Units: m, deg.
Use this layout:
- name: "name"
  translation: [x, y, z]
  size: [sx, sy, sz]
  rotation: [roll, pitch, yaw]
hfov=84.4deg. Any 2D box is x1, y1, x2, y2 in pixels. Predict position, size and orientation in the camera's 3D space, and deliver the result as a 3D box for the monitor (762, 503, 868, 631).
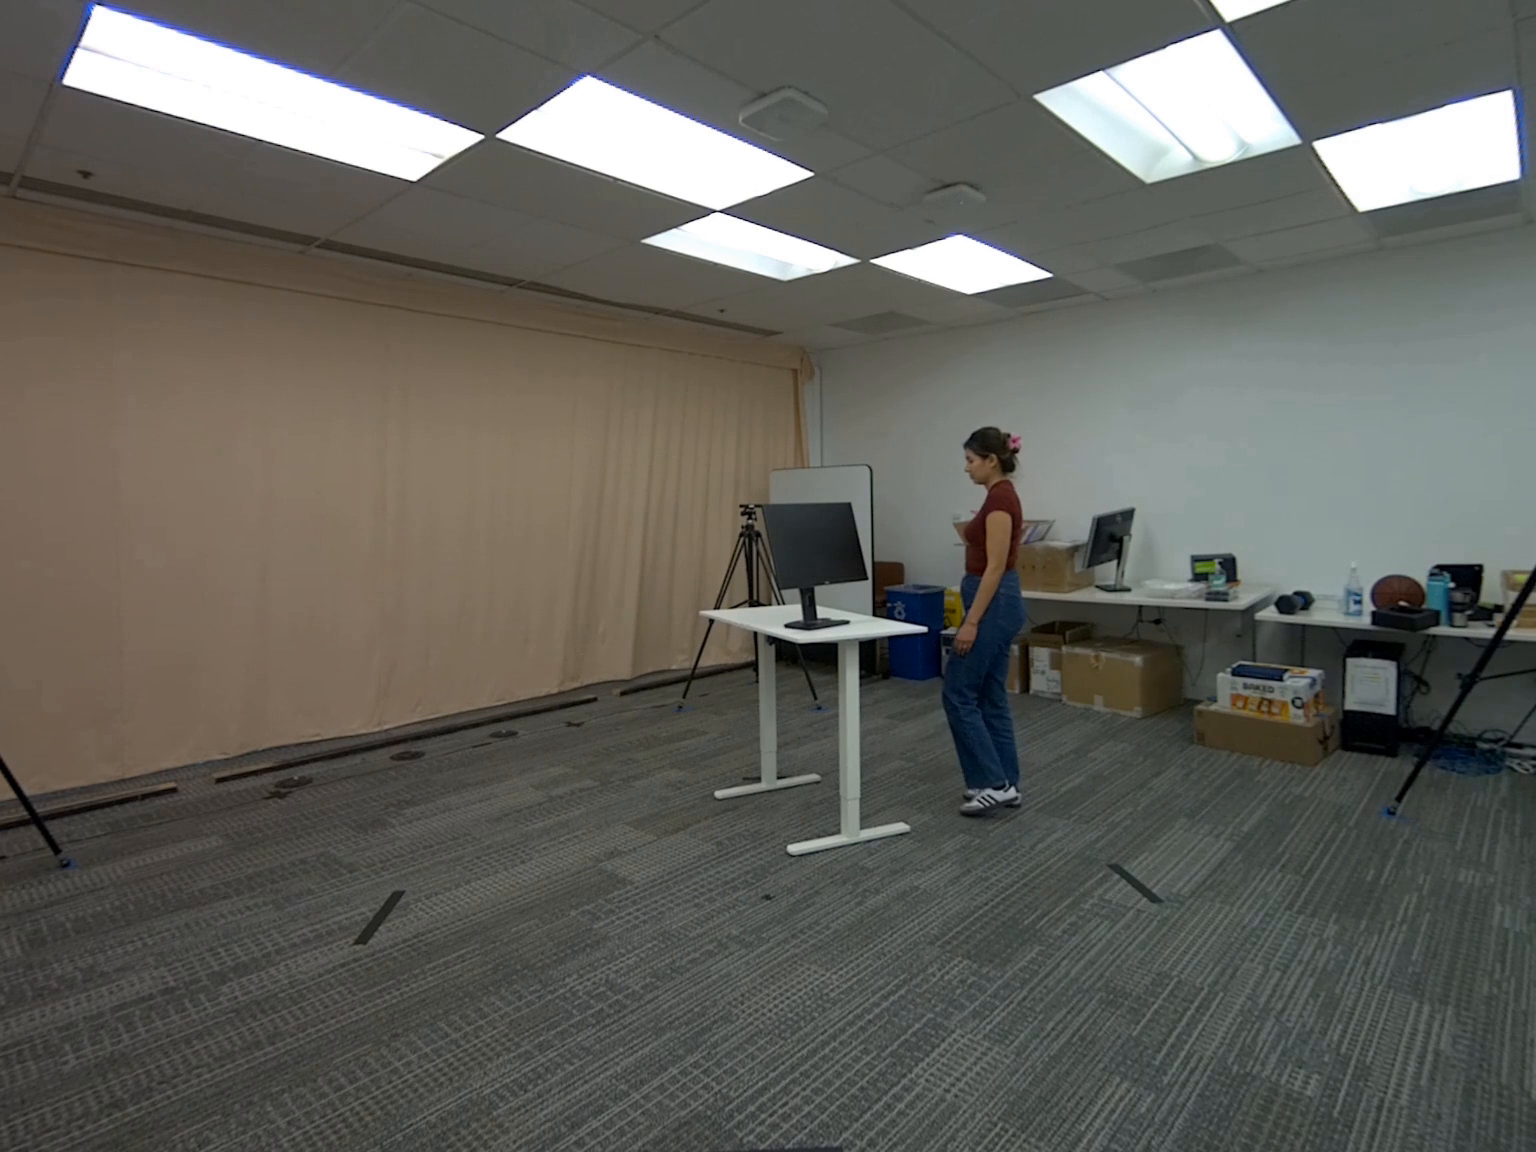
- name: "monitor"
  translation: [0.194, -0.043, 3.538]
  size: [0.523, 0.522, 0.193]
  rotation: [-5, 2, -44]
